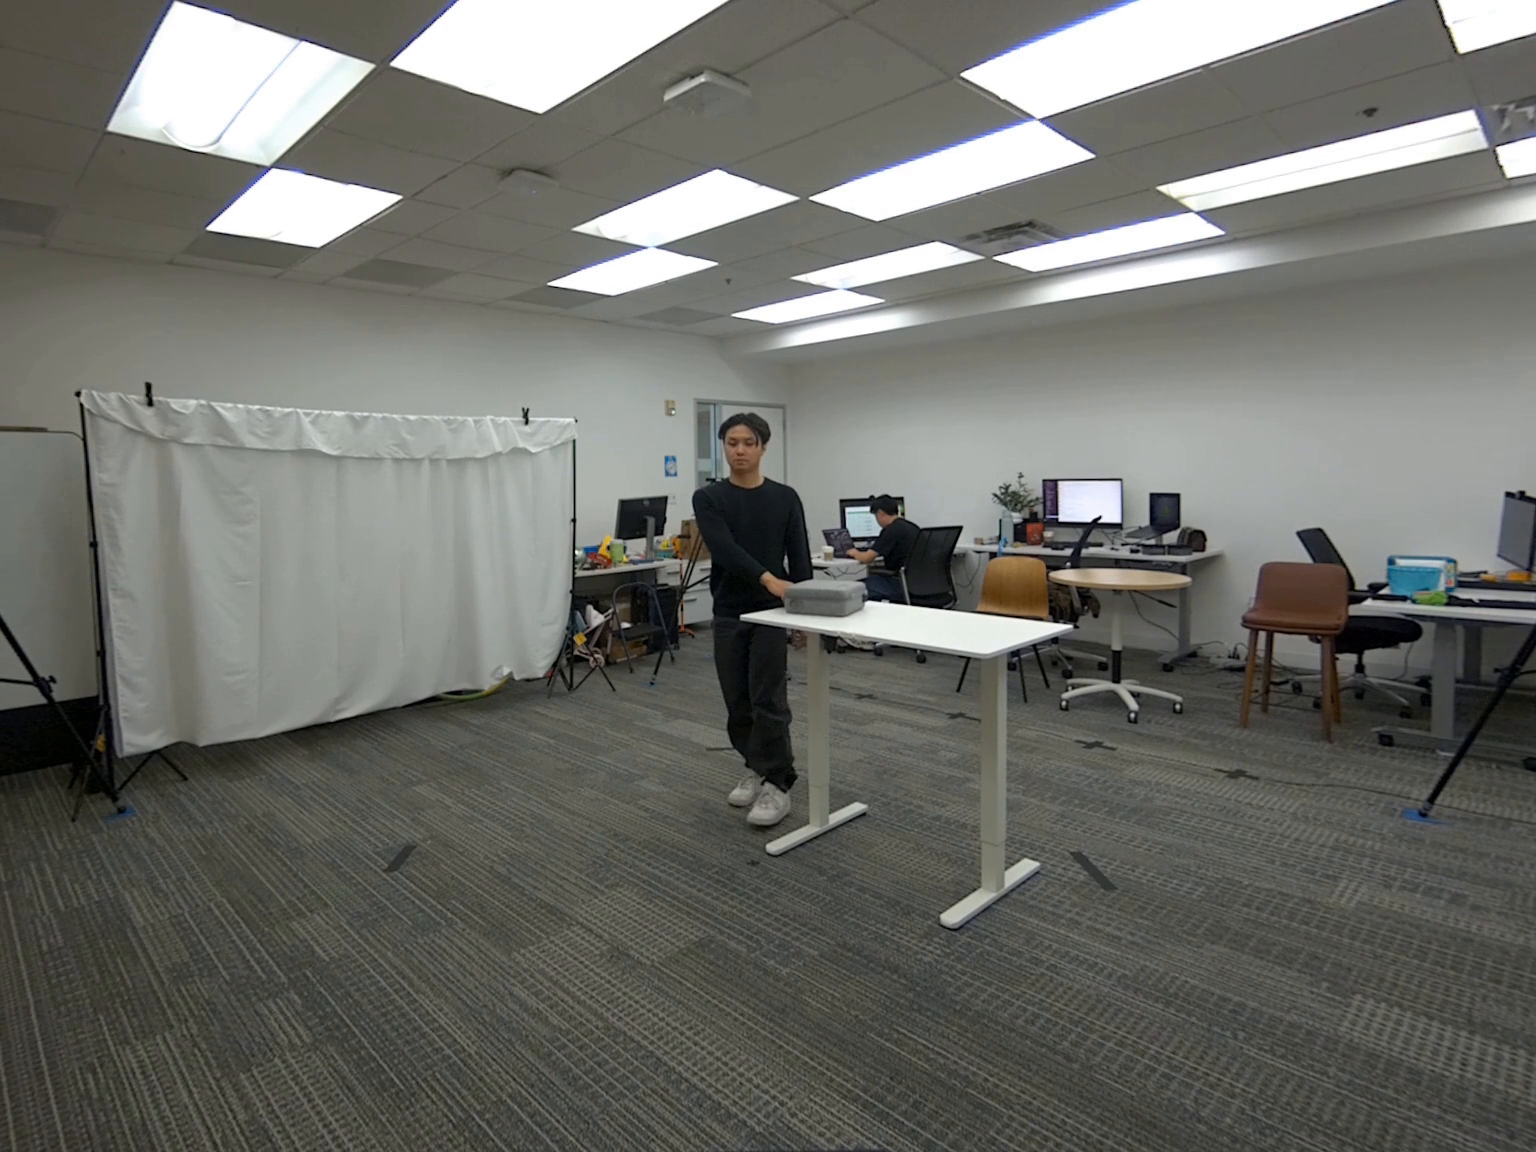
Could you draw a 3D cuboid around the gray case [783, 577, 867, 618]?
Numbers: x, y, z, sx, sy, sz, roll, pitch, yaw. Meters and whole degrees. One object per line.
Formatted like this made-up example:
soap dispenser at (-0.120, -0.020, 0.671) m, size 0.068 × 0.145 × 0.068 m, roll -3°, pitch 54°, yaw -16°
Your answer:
gray case at (0.219, 0.084, 3.258) m, size 0.267 × 0.104 × 0.252 m, roll 1°, pitch 8°, yaw 27°
